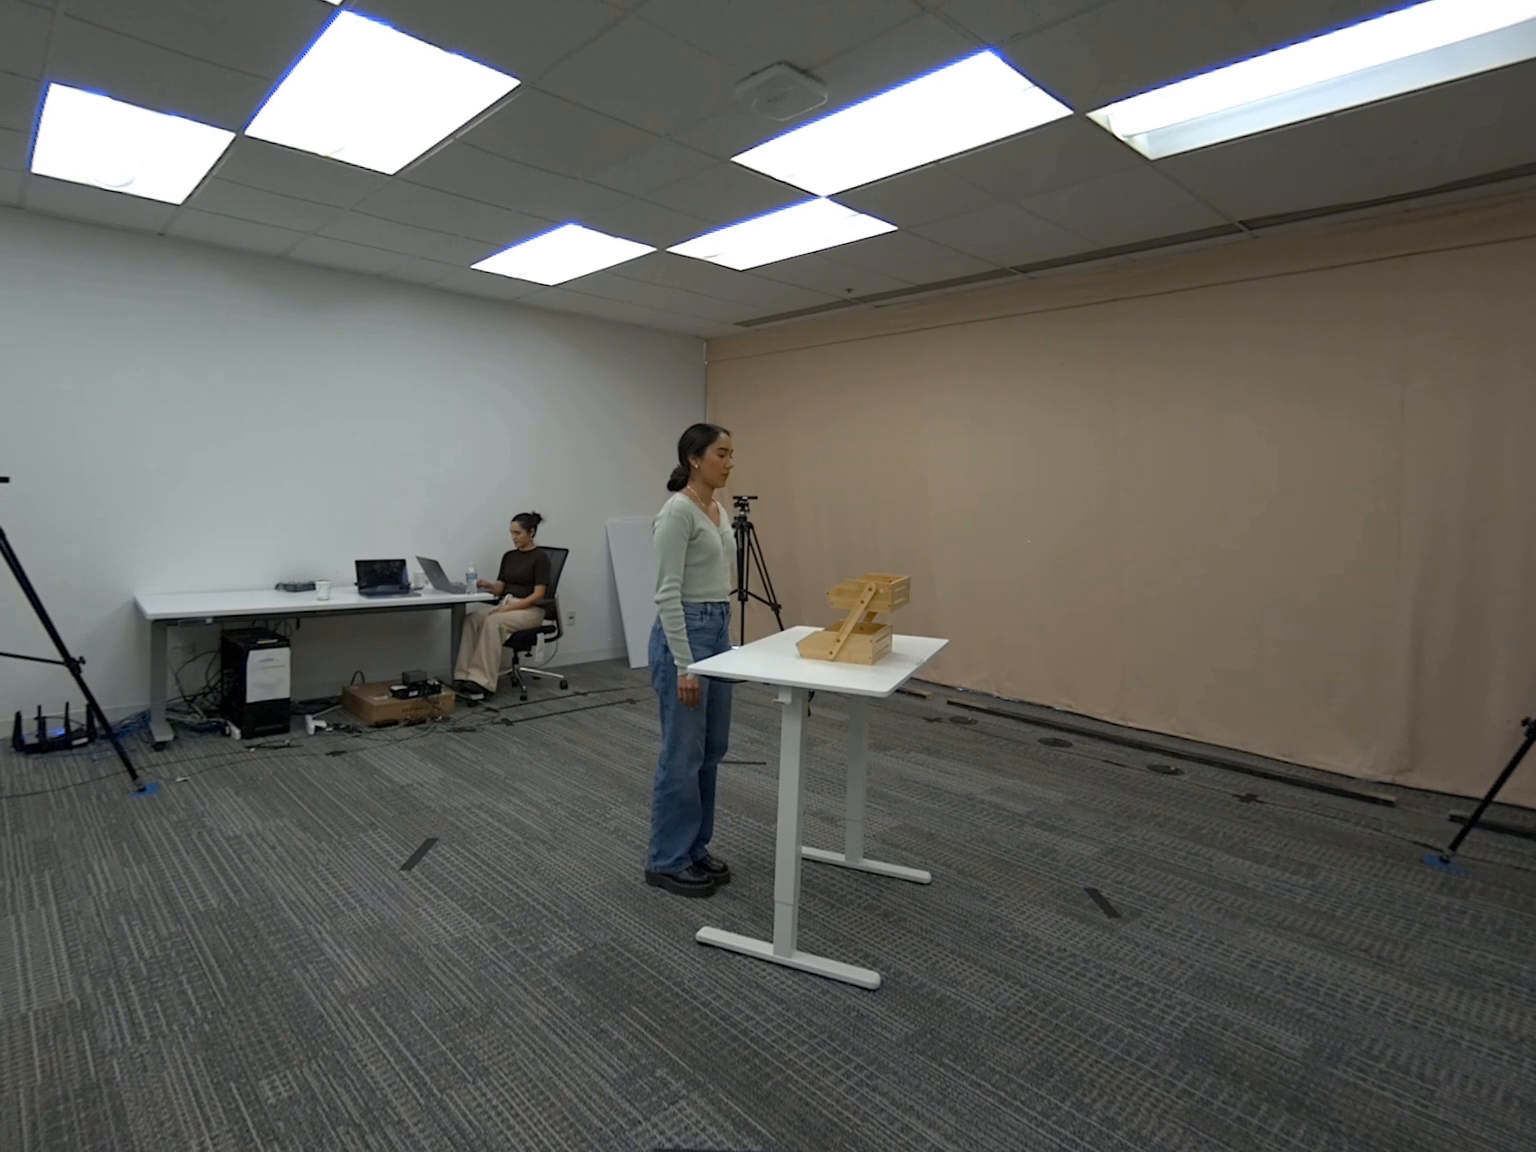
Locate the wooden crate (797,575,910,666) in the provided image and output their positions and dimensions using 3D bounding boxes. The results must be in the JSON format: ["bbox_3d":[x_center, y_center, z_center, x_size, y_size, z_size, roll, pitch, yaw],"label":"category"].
[{"bbox_3d":[0.272,0.129,2.769,0.307,0.272,0.320,4,5,21],"label":"wooden crate"}]
